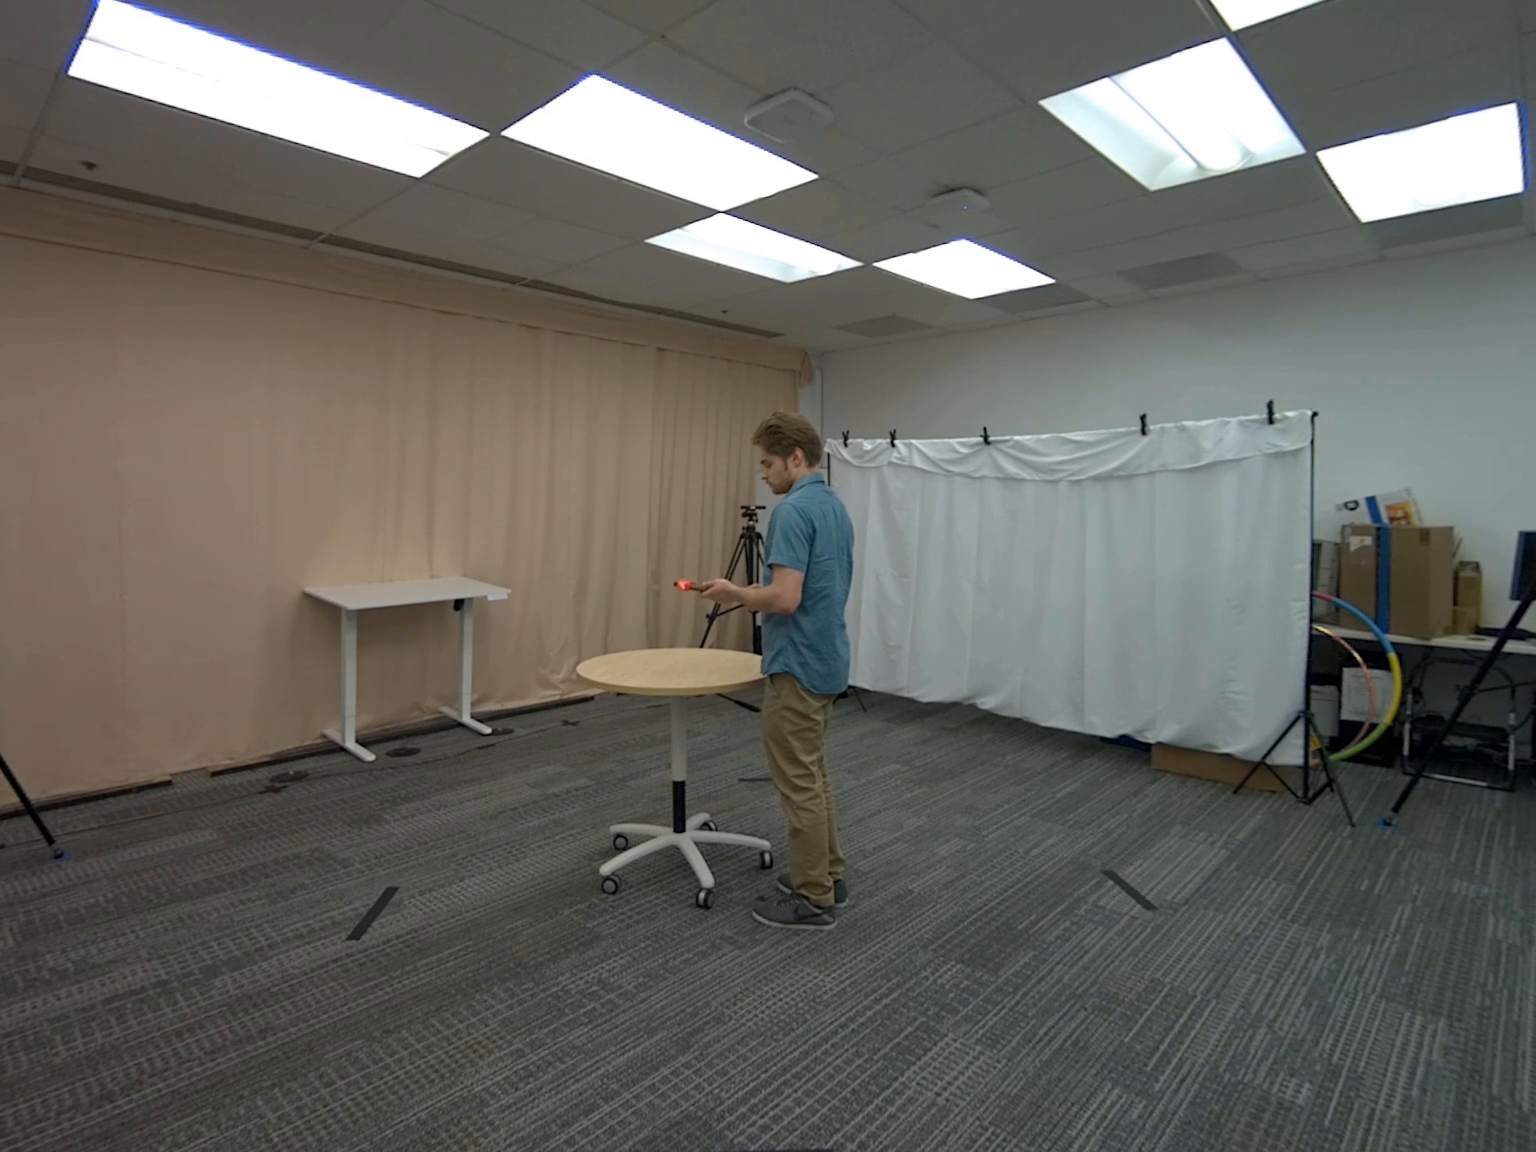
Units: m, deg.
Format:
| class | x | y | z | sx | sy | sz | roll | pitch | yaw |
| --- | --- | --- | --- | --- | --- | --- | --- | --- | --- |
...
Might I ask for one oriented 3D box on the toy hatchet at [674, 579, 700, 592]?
| class | x | y | z | sx | sy | sz | roll | pitch | yaw |
| --- | --- | --- | --- | --- | --- | --- | --- | --- | --- |
| toy hatchet | -0.189 | 0.052 | 2.907 | 0.264 | 0.029 | 0.134 | 9 | 8 | -22 |
